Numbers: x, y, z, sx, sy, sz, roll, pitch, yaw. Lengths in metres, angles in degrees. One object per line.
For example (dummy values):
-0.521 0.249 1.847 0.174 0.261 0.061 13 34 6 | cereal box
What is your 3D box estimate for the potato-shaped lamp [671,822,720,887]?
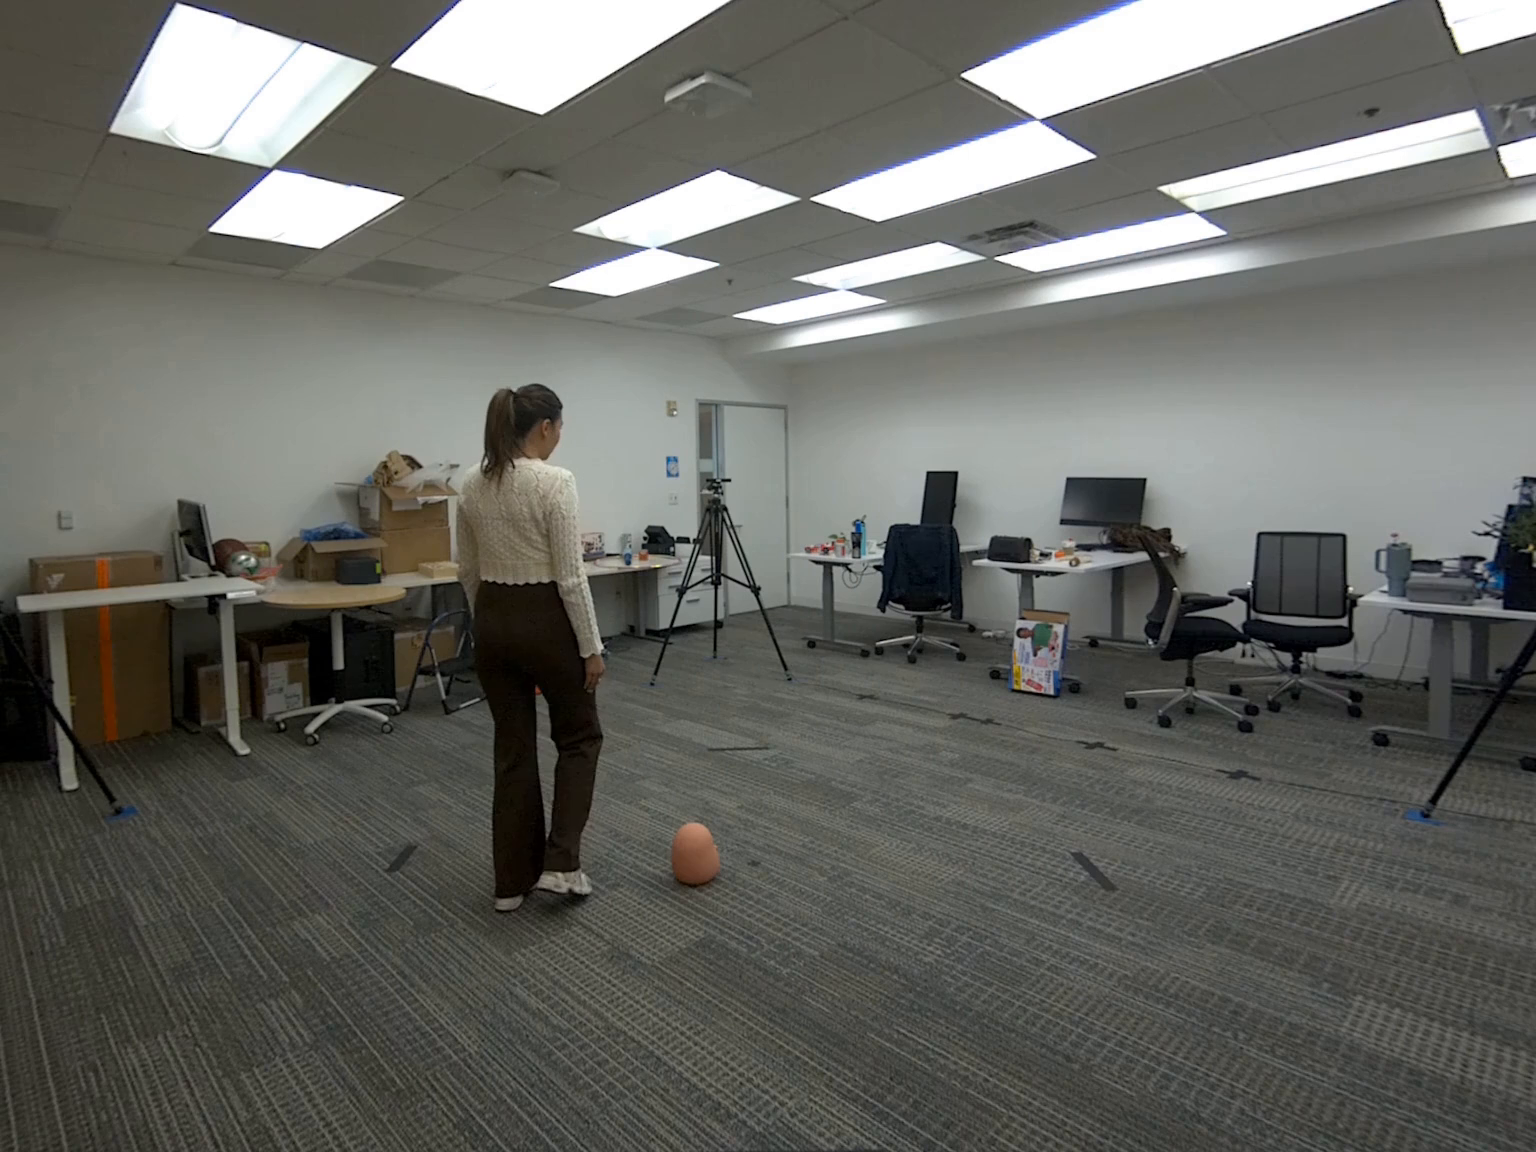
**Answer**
-0.255 0.959 2.981 0.169 0.197 0.167 3 7 33 | potato-shaped lamp
